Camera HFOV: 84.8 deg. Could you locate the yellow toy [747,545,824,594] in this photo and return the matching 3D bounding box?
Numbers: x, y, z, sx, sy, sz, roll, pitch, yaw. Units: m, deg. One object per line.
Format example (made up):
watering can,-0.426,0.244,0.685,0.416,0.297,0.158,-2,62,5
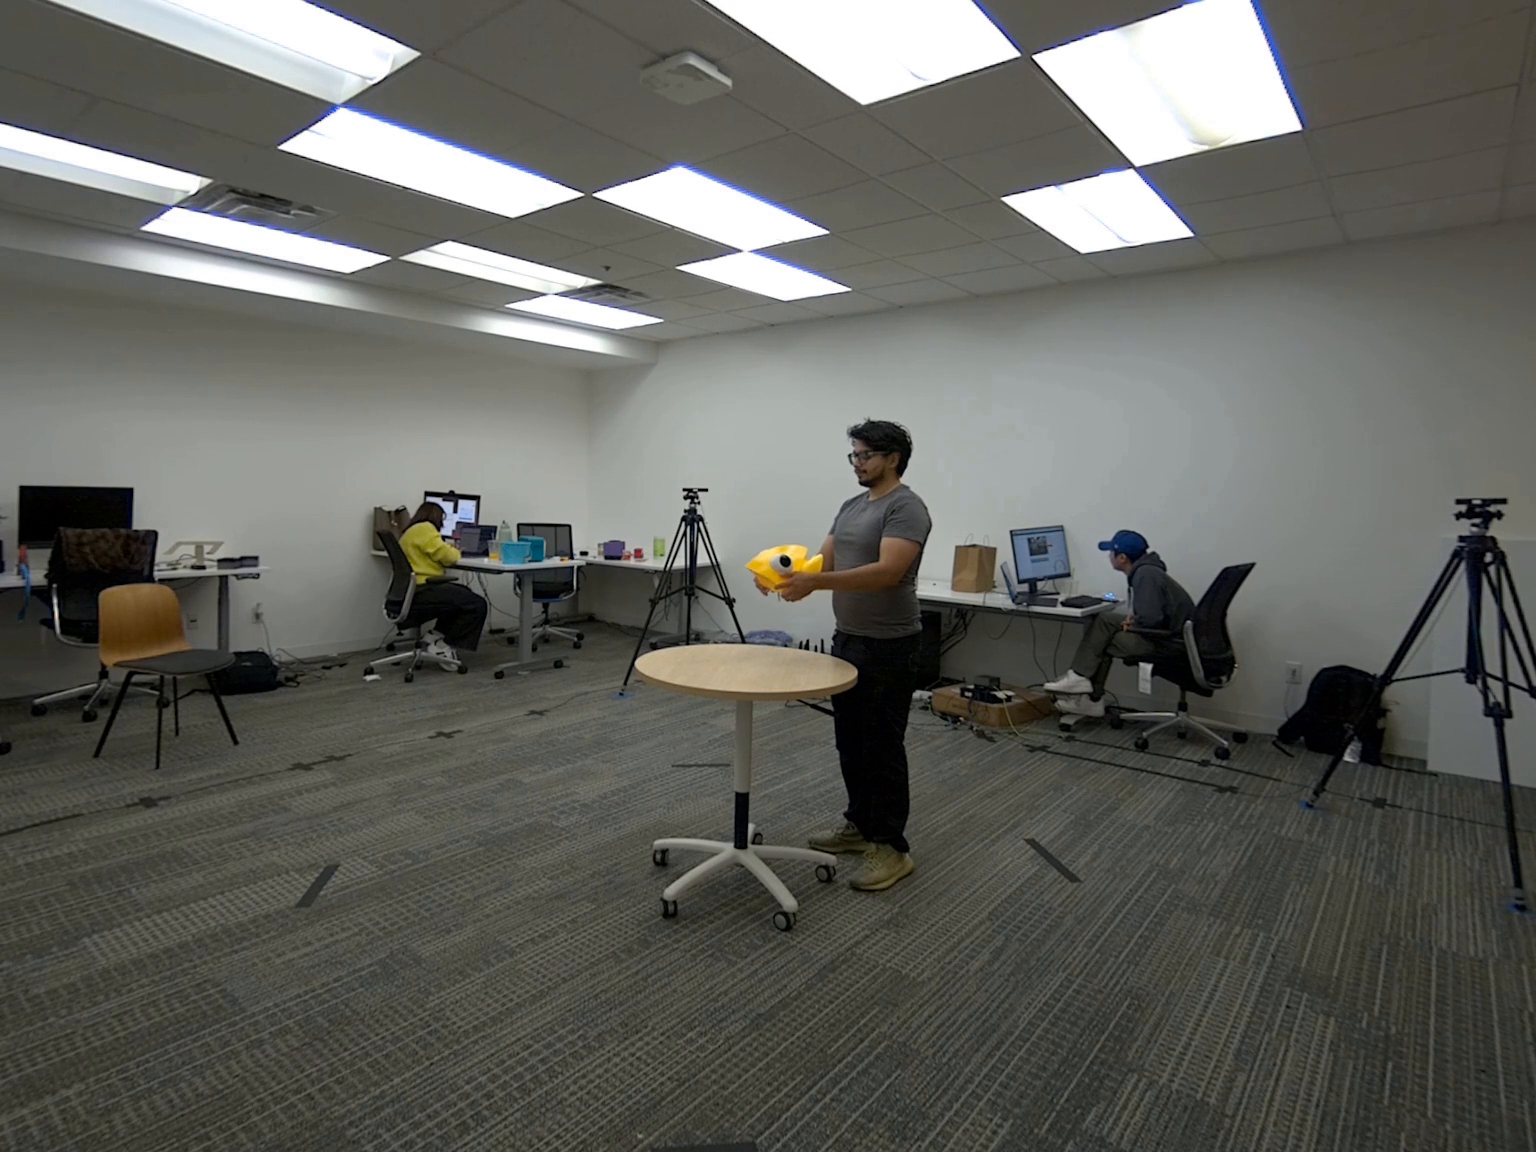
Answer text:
yellow toy,0.024,-0.048,3.008,0.223,0.193,0.211,26,-4,-28
